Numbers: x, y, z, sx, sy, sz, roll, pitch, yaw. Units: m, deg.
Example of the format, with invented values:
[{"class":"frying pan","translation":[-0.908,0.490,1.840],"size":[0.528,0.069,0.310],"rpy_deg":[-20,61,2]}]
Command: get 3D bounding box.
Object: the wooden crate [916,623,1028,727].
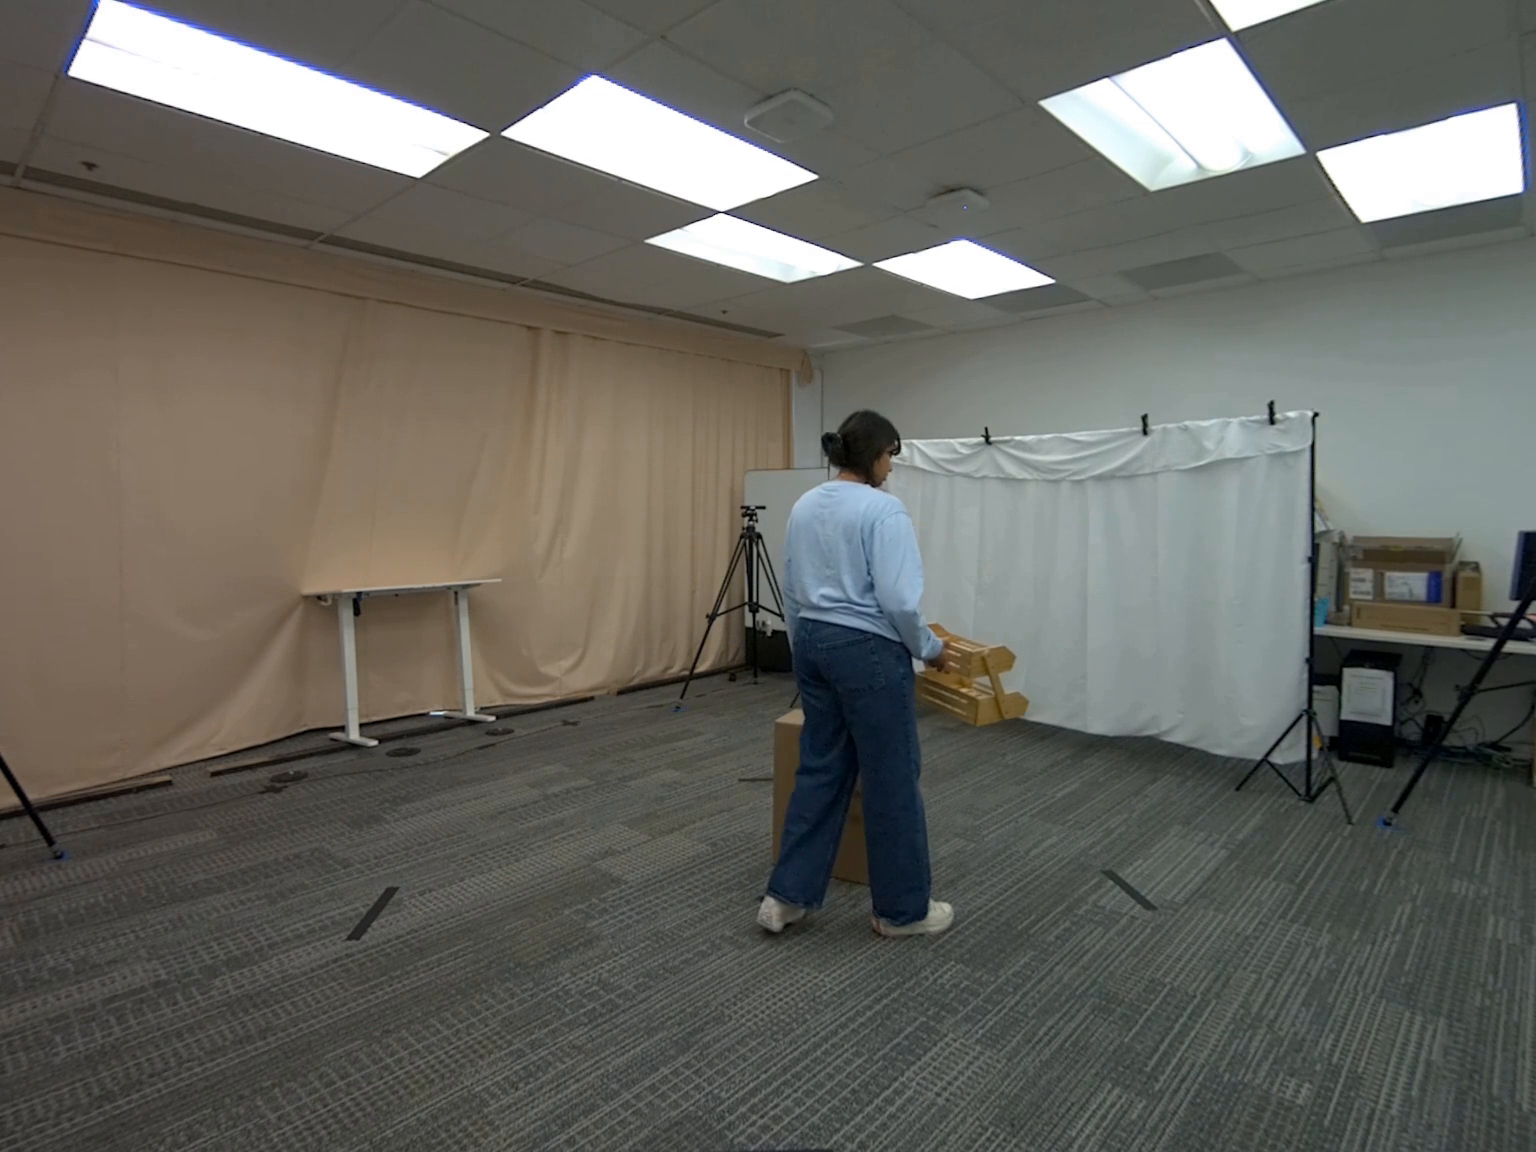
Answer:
[{"class":"wooden crate","translation":[0.681,0.315,2.849],"size":[0.294,0.271,0.335],"rpy_deg":[-6,14,-33]}]
